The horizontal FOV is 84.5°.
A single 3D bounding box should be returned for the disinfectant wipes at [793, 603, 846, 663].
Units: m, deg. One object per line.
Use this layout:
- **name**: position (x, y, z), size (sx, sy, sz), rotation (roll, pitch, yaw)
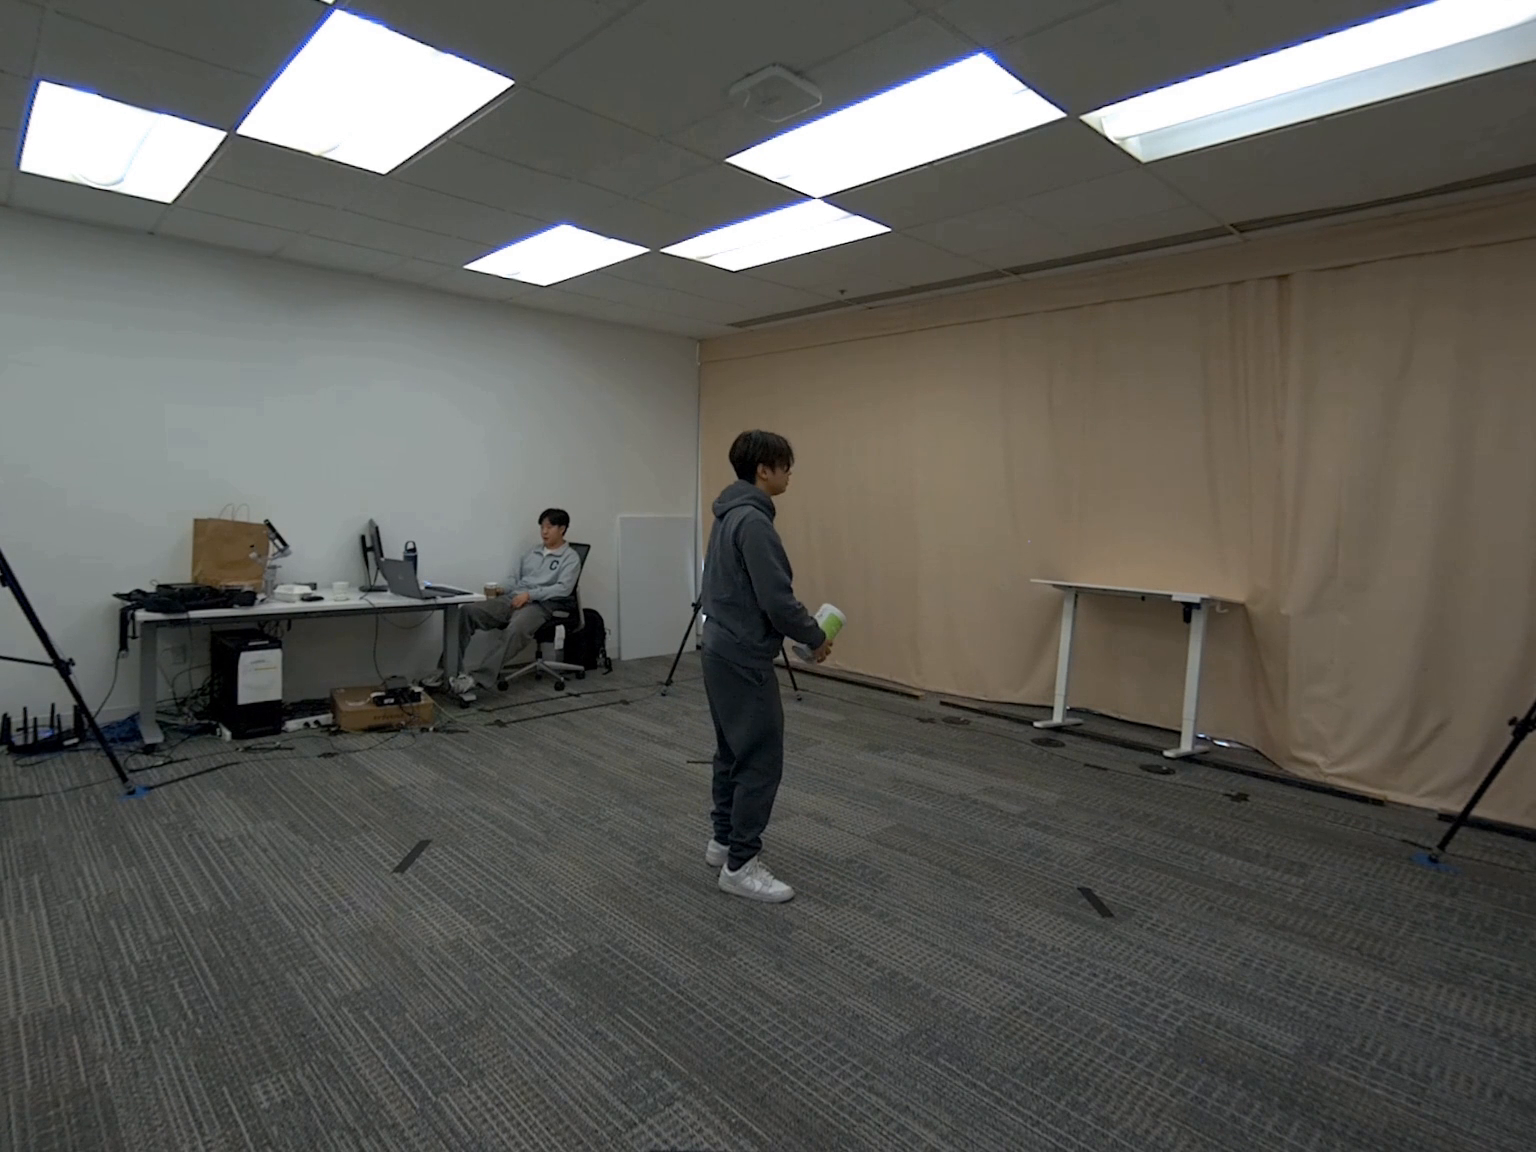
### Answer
- **disinfectant wipes**: position (0.183, 0.215, 3.169), size (0.119, 0.217, 0.116), rotation (36, -18, 12)
